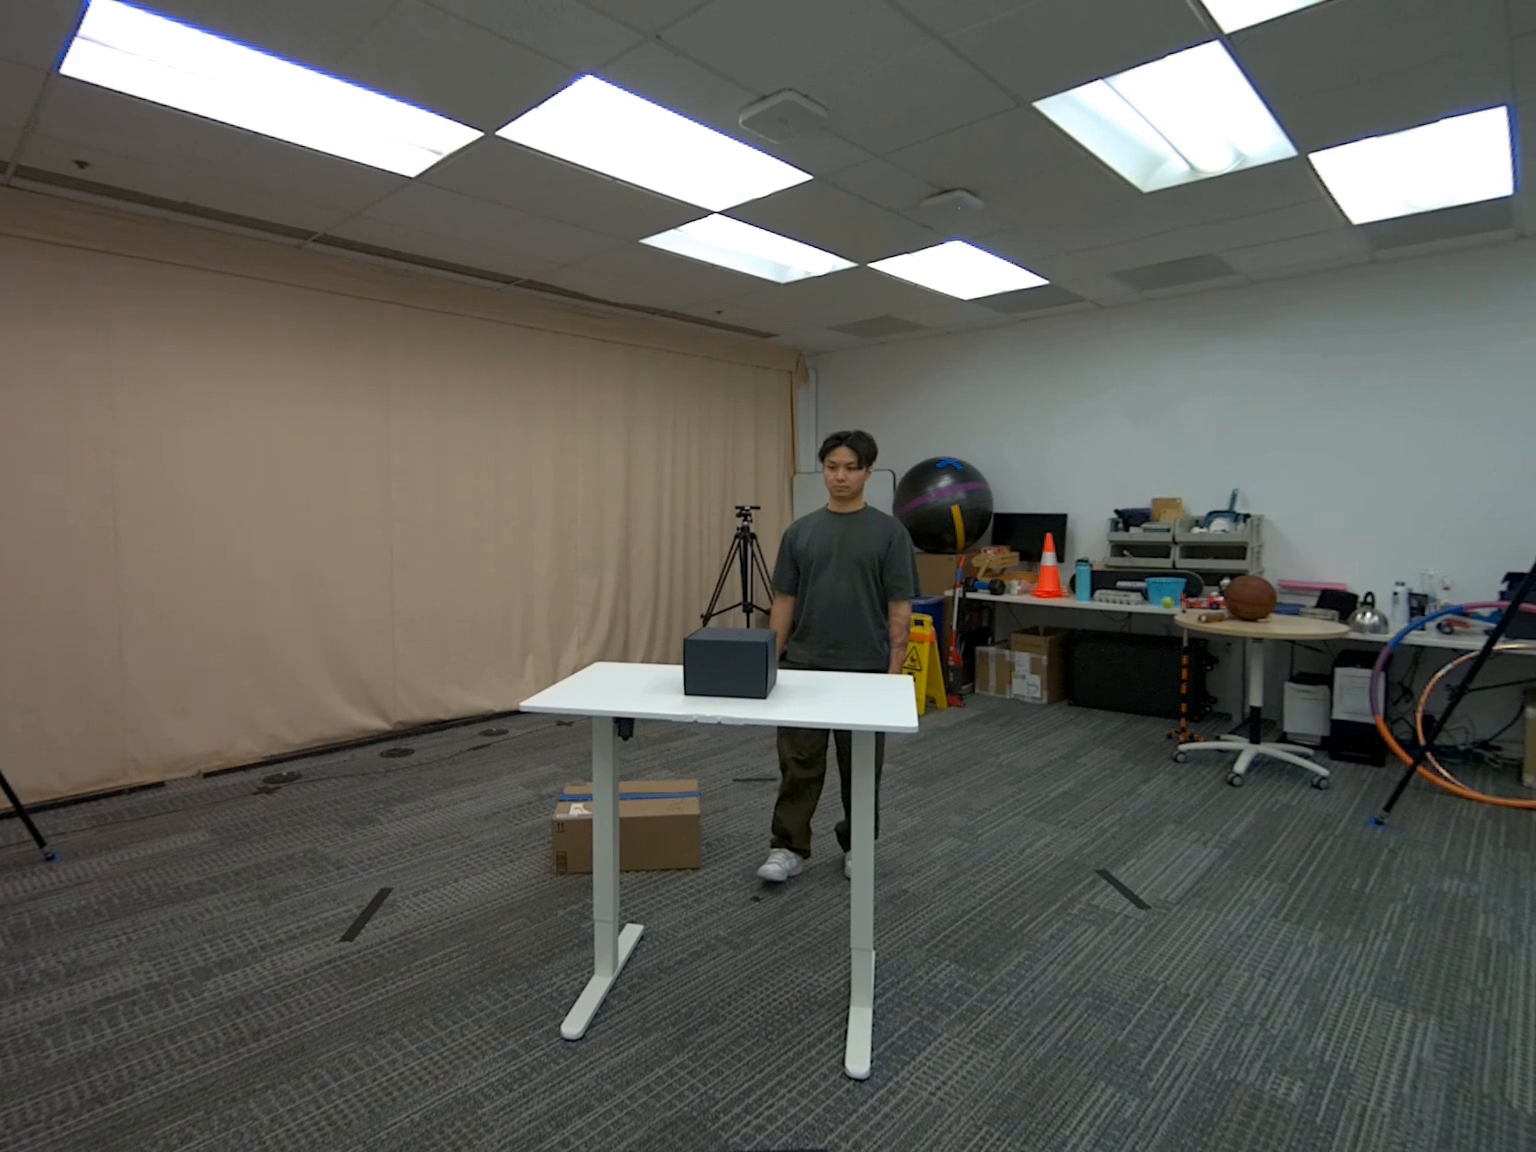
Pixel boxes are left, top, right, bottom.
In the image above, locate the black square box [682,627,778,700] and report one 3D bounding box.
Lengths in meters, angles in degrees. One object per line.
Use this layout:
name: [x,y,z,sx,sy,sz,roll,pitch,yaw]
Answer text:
black square box: [-0.095,0.236,2.340,0.231,0.155,0.215,2,5,11]
